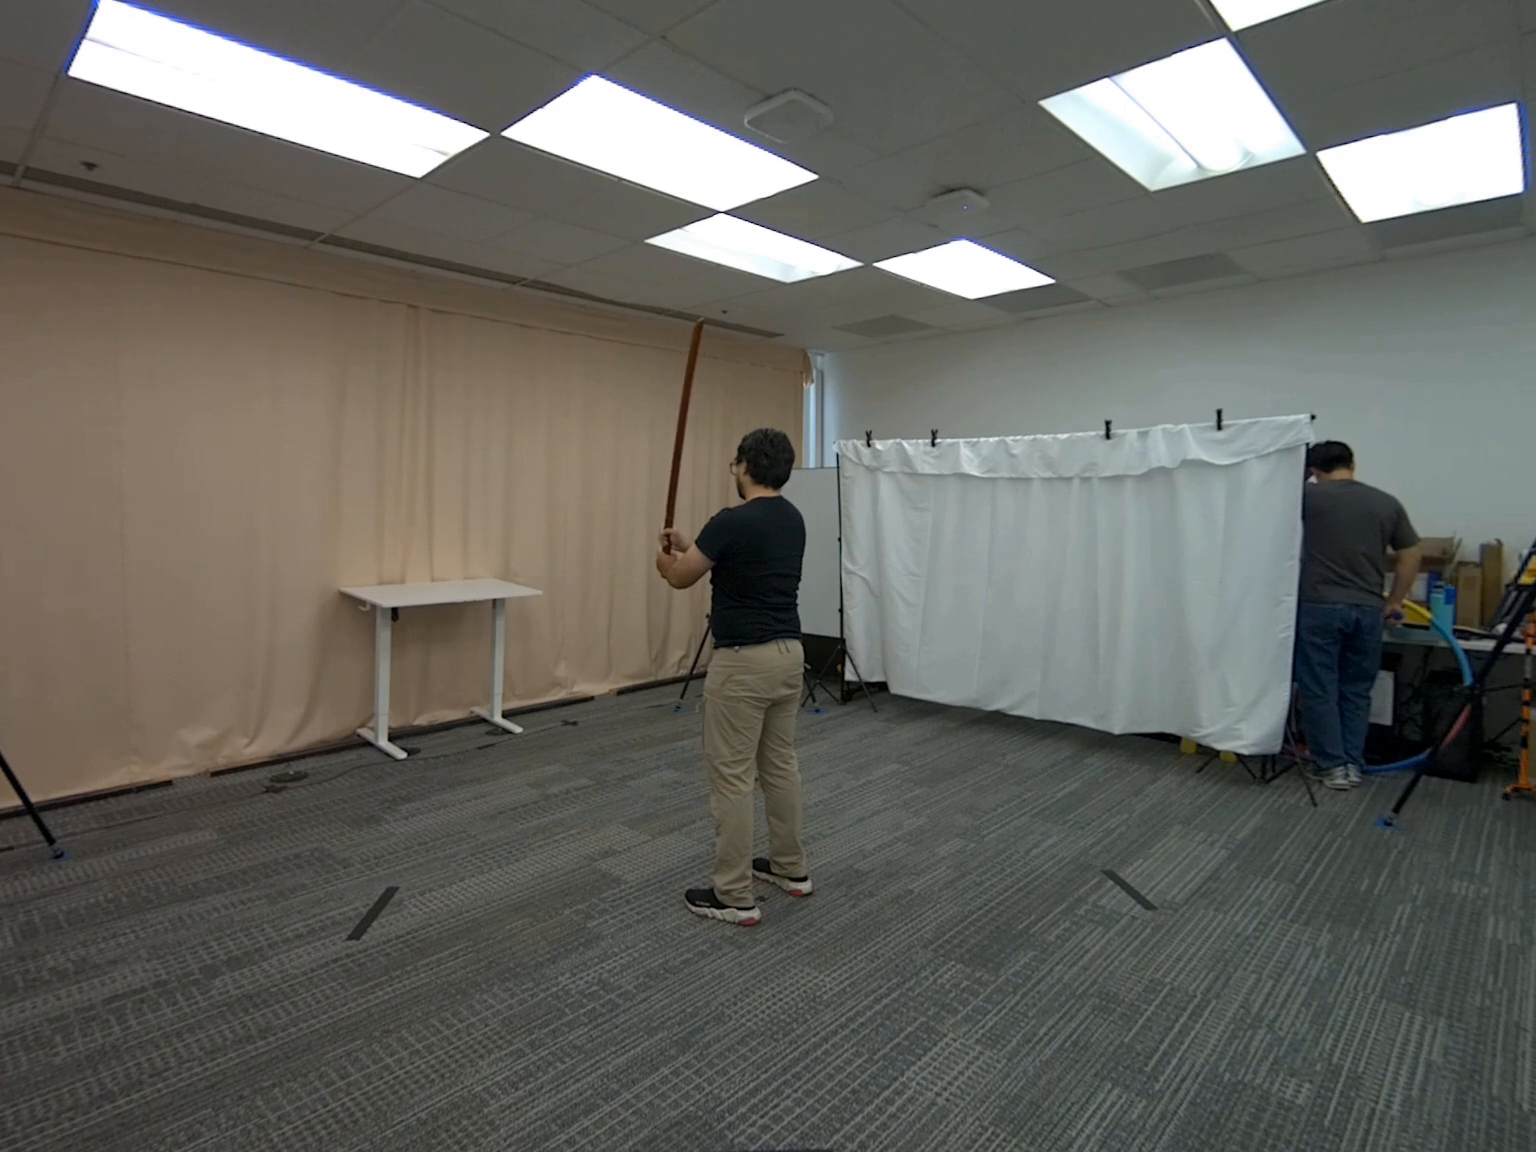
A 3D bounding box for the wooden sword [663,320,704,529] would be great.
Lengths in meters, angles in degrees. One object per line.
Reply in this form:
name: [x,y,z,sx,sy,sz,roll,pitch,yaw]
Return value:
wooden sword: [-0.324,-0.413,3.016,0.023,1.012,0.053,-16,41,-36]
